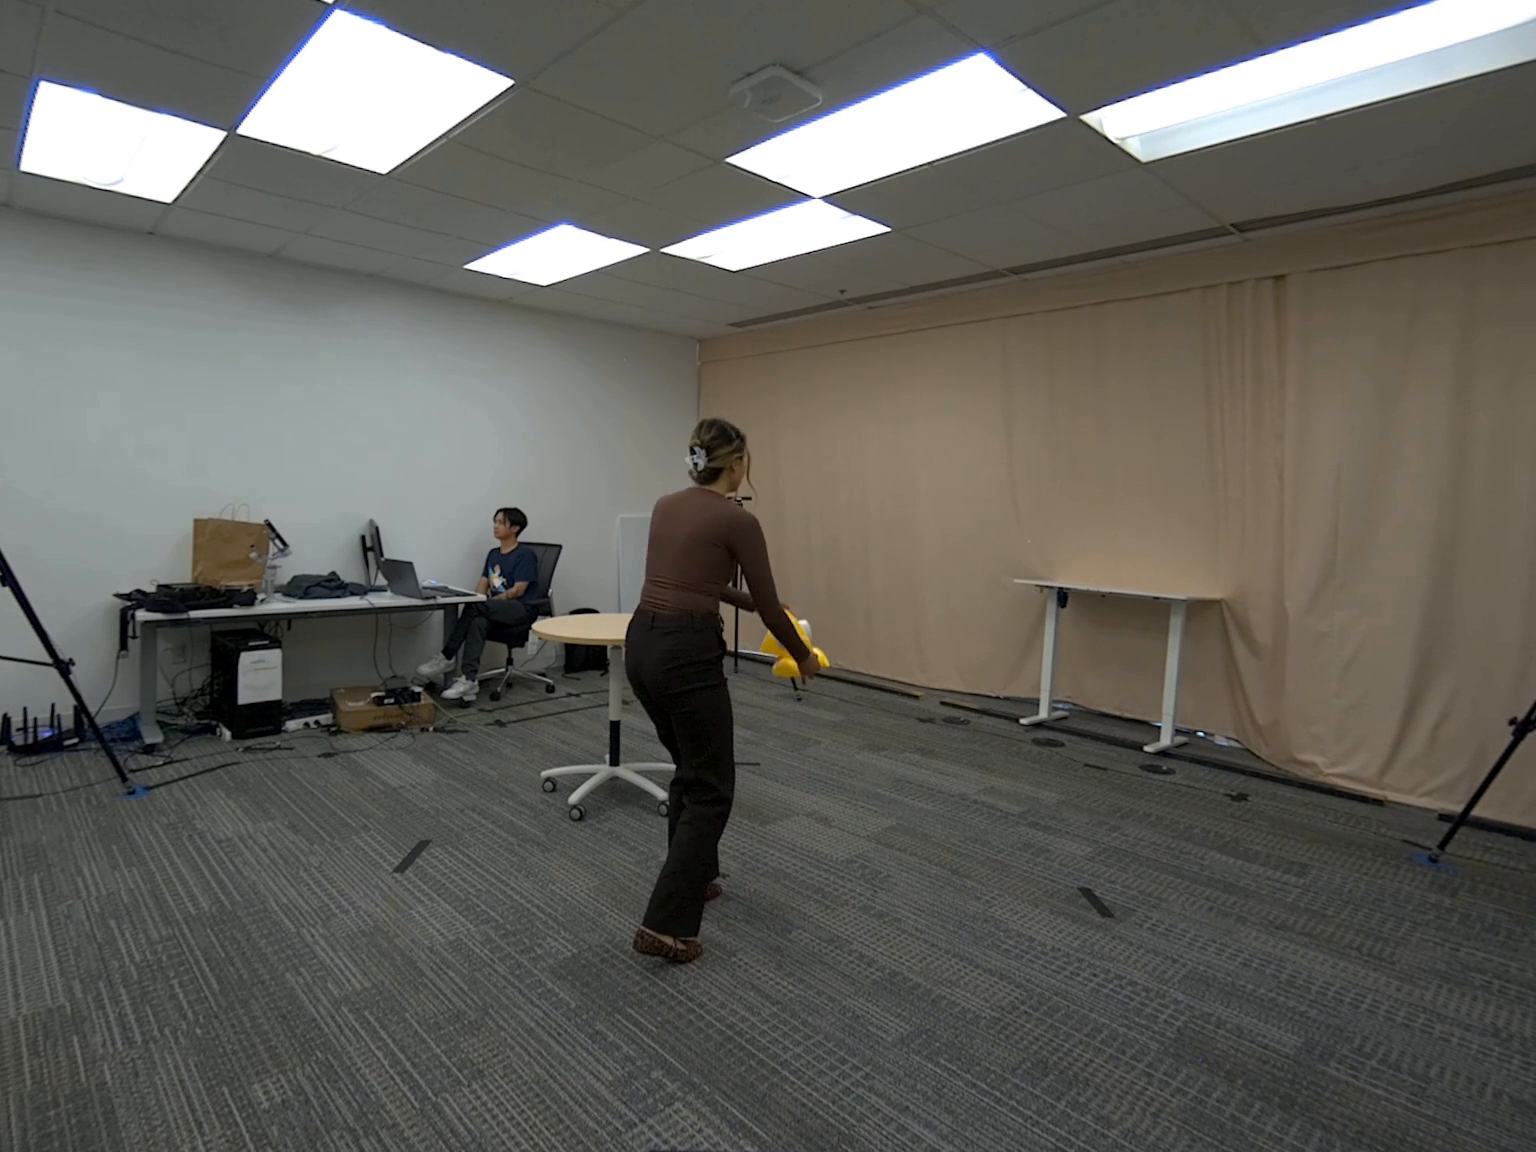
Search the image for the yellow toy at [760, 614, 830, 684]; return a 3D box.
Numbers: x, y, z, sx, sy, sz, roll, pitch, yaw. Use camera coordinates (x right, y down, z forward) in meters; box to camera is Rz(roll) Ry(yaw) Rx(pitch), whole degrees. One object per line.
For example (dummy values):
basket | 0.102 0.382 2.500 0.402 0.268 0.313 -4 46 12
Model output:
yellow toy | 0.097 0.226 3.035 0.201 0.229 0.198 -13 9 -40
